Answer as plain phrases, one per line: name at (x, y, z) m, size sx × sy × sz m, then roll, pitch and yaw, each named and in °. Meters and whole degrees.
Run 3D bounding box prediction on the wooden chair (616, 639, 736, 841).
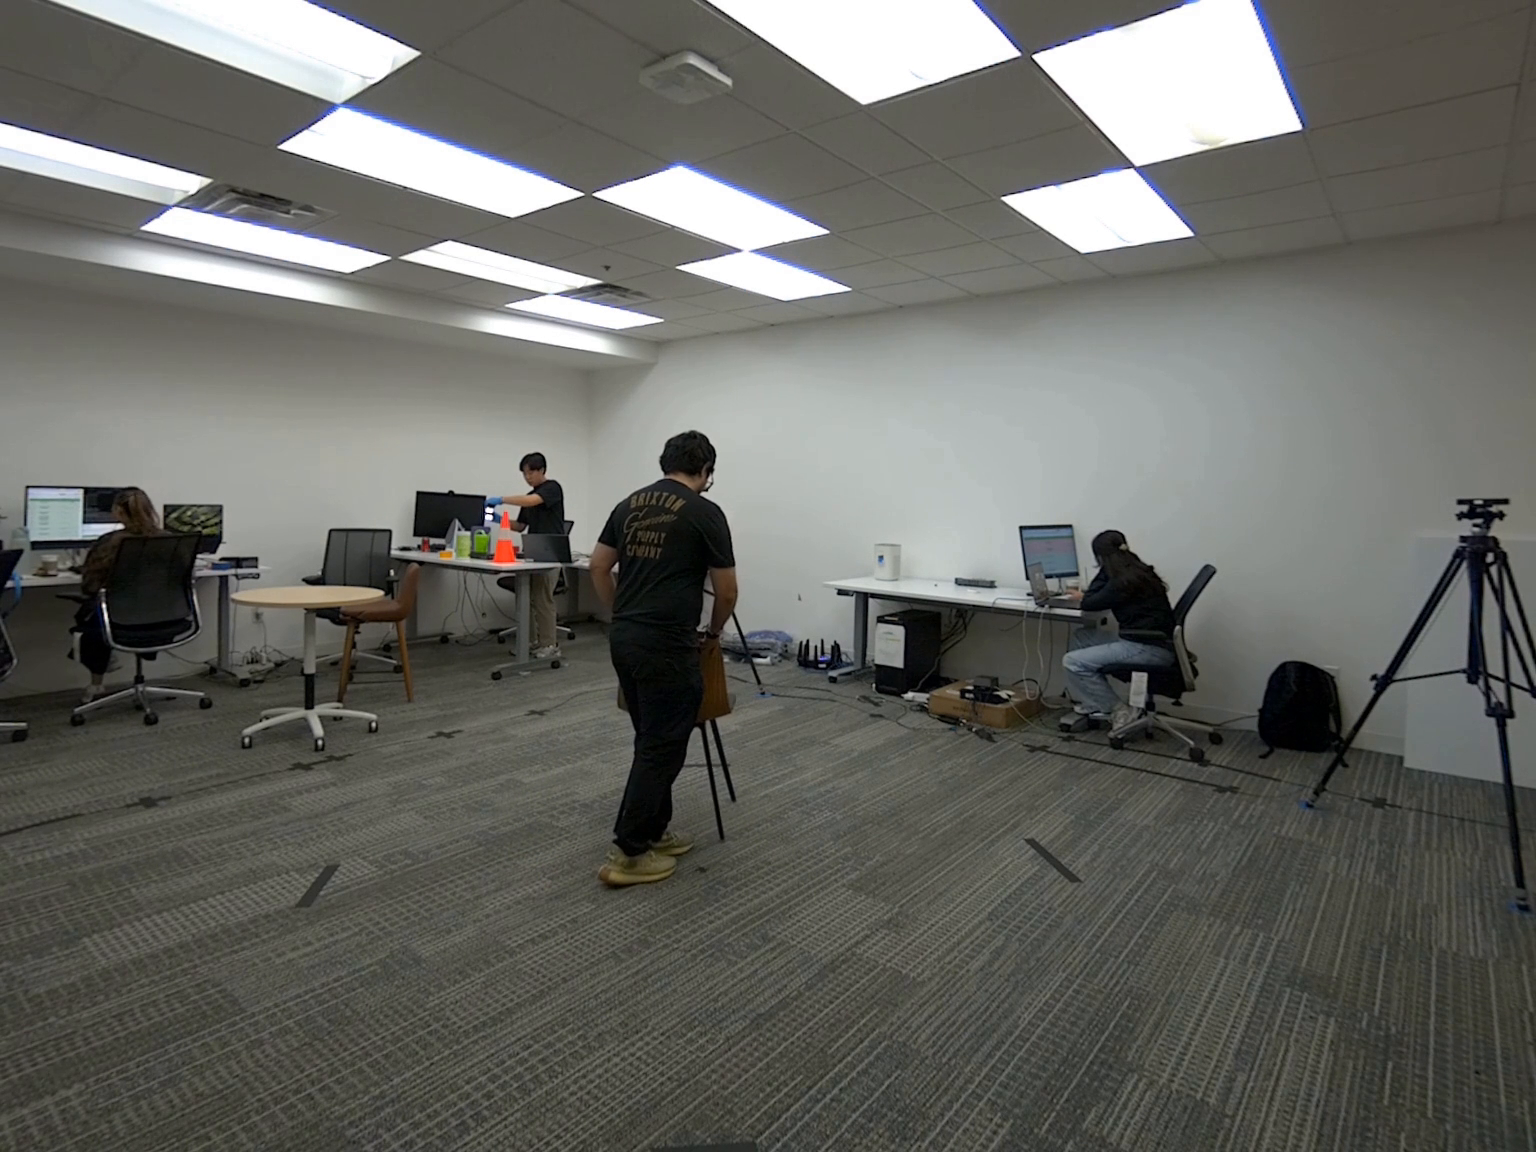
wooden chair at (-0.391, 0.585, 3.596) m, size 0.481 × 0.871 × 0.523 m, roll 1°, pitch 8°, yaw 5°
